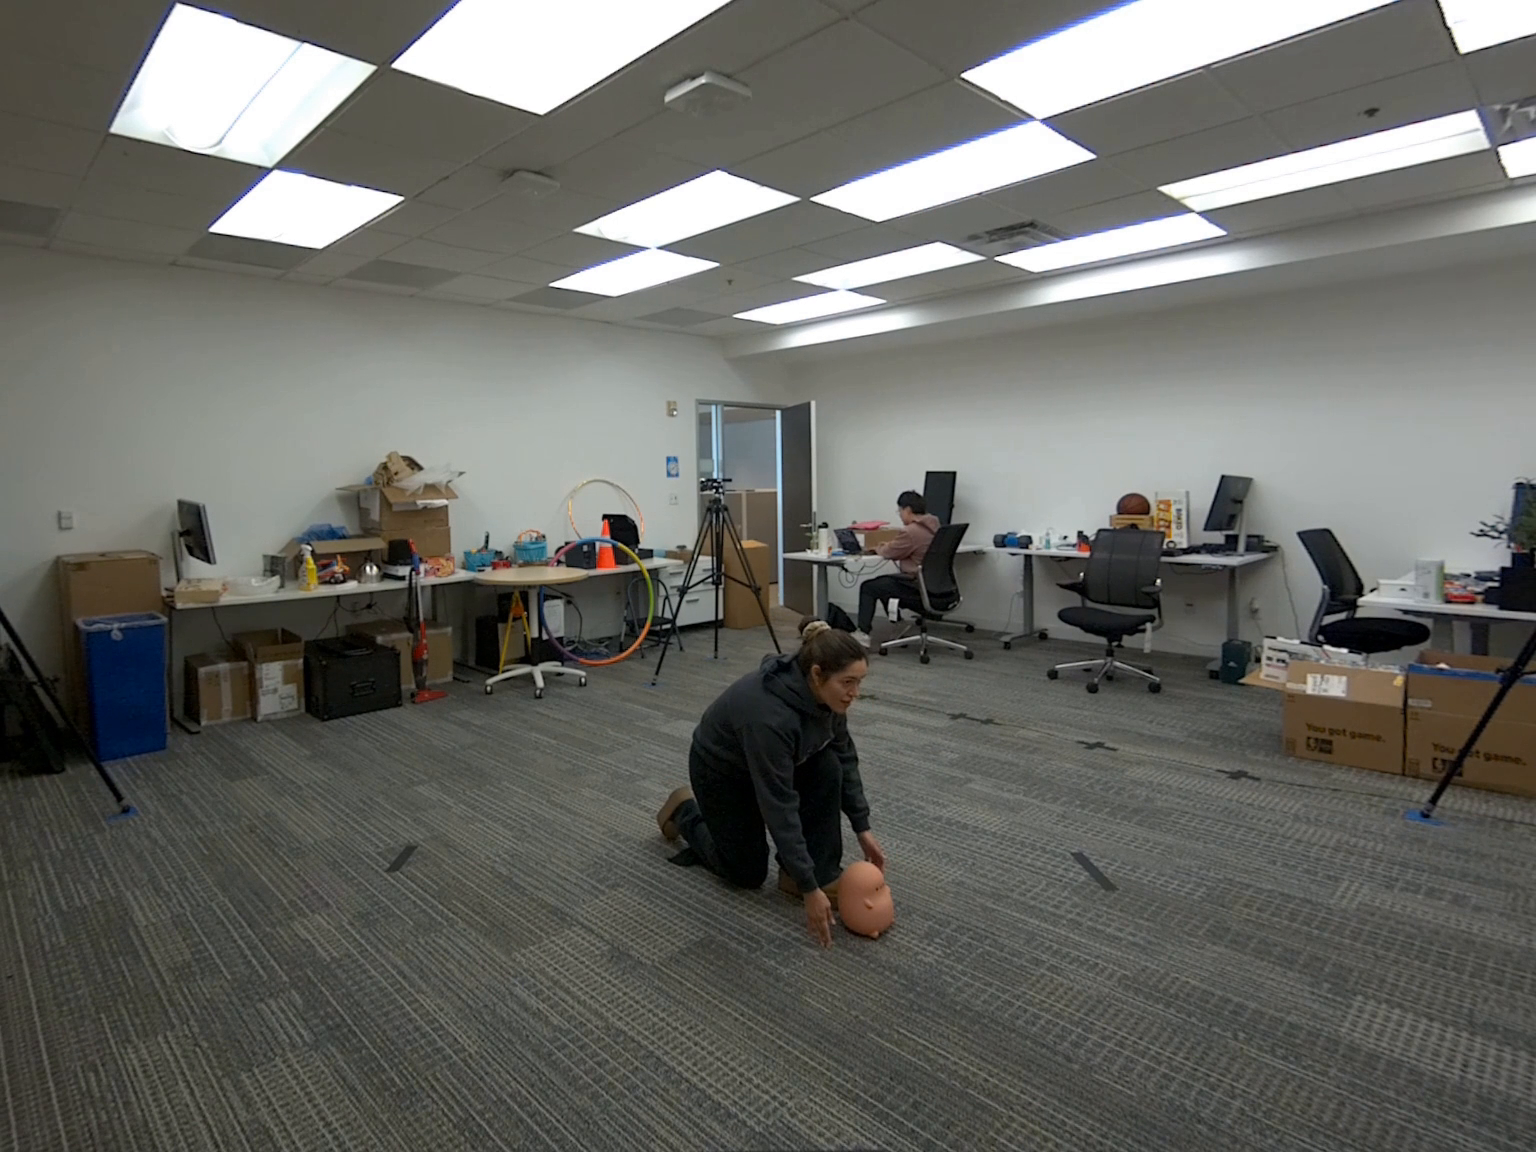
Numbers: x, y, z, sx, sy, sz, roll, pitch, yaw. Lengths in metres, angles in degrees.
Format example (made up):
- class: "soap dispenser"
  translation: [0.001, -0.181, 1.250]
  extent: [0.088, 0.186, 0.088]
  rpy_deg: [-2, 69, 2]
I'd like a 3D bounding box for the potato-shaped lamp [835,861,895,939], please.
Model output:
- class: "potato-shaped lamp"
  translation: [0.301, 0.990, 2.643]
  extent: [0.177, 0.197, 0.160]
  rpy_deg: [6, 5, 42]
